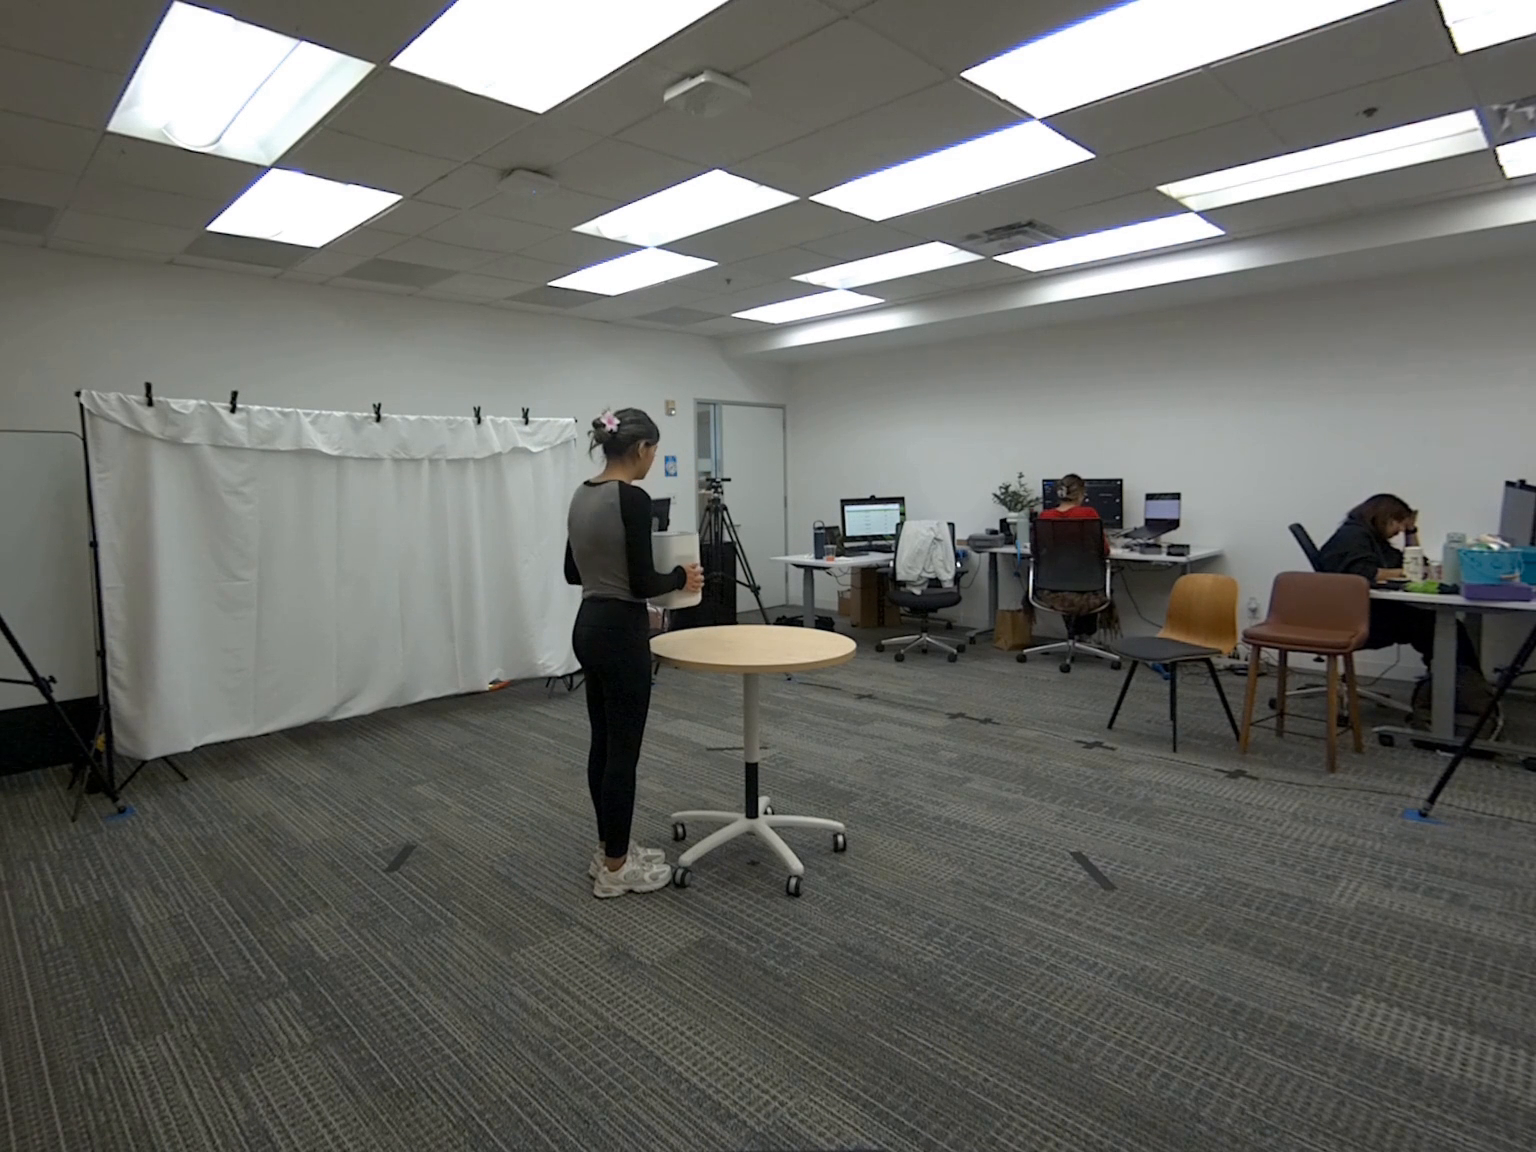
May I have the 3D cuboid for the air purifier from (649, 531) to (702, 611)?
[{"bbox_3d":[-0.347,-0.023,3.094,0.167,0.264,0.176,-7,7,-41],"label":"air purifier"}]
